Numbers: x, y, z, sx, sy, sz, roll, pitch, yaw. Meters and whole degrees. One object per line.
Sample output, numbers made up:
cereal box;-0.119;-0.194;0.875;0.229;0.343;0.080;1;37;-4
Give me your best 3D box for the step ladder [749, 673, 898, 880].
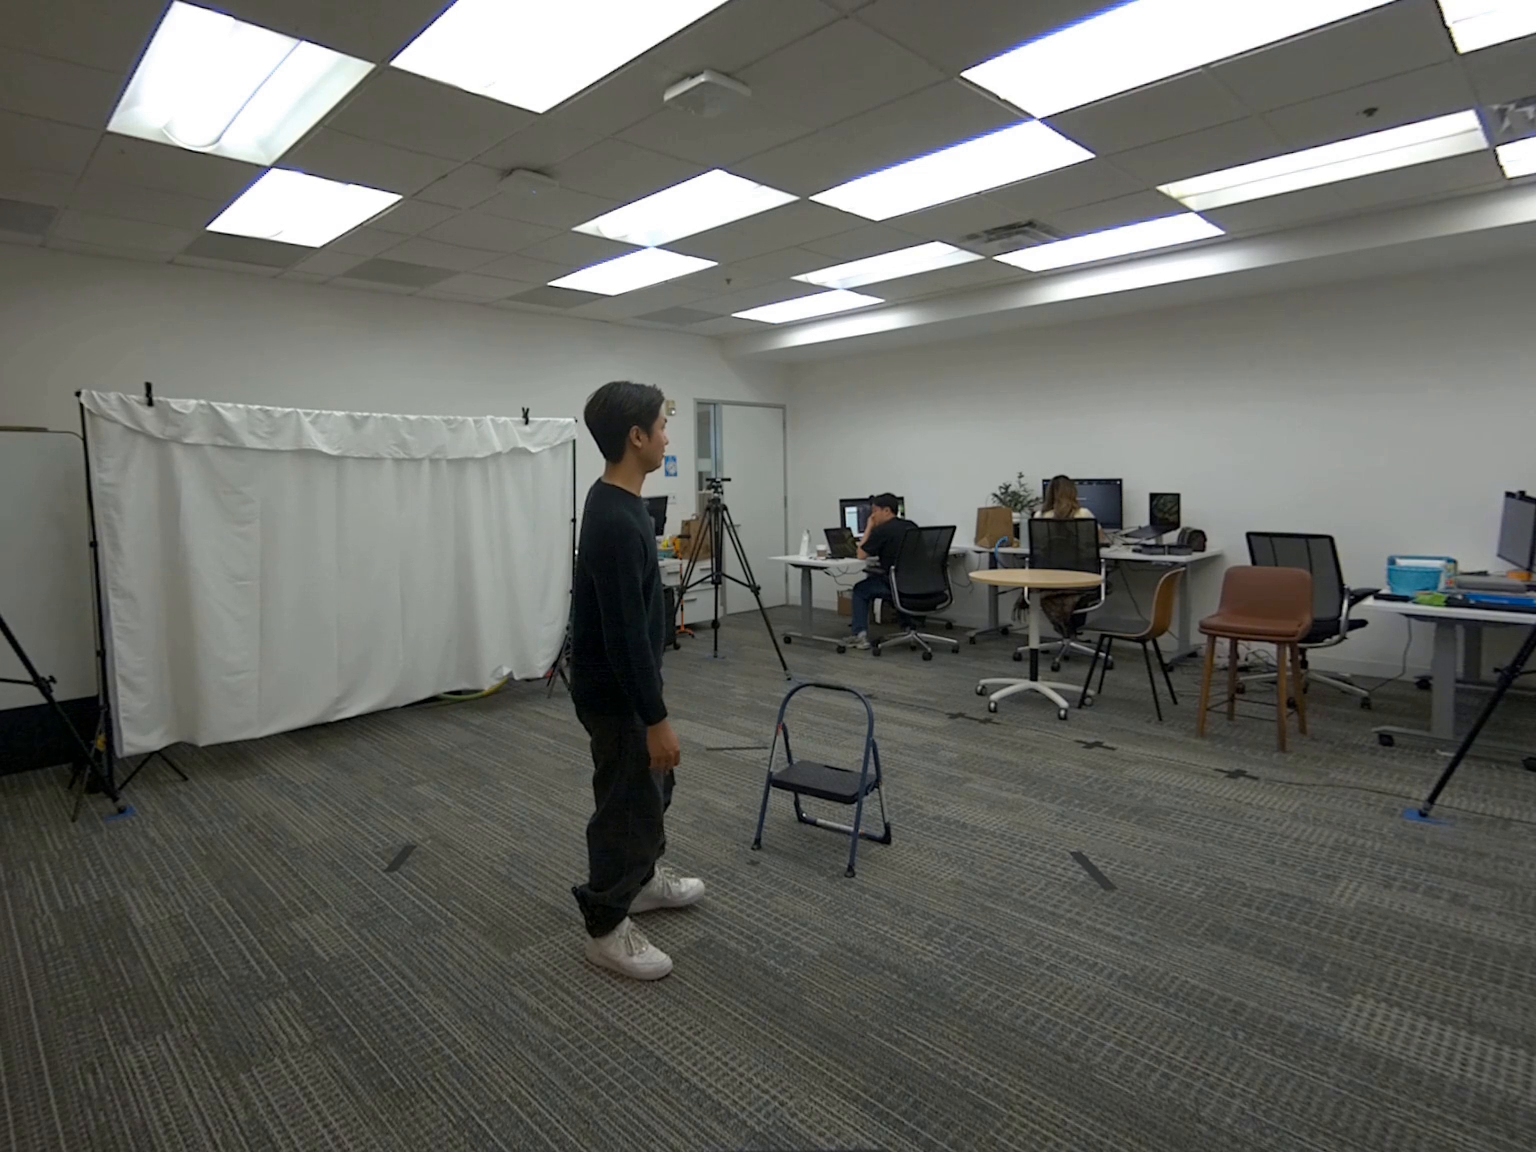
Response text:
step ladder;0.209;0.722;3.220;0.443;0.604;0.341;2;5;35
